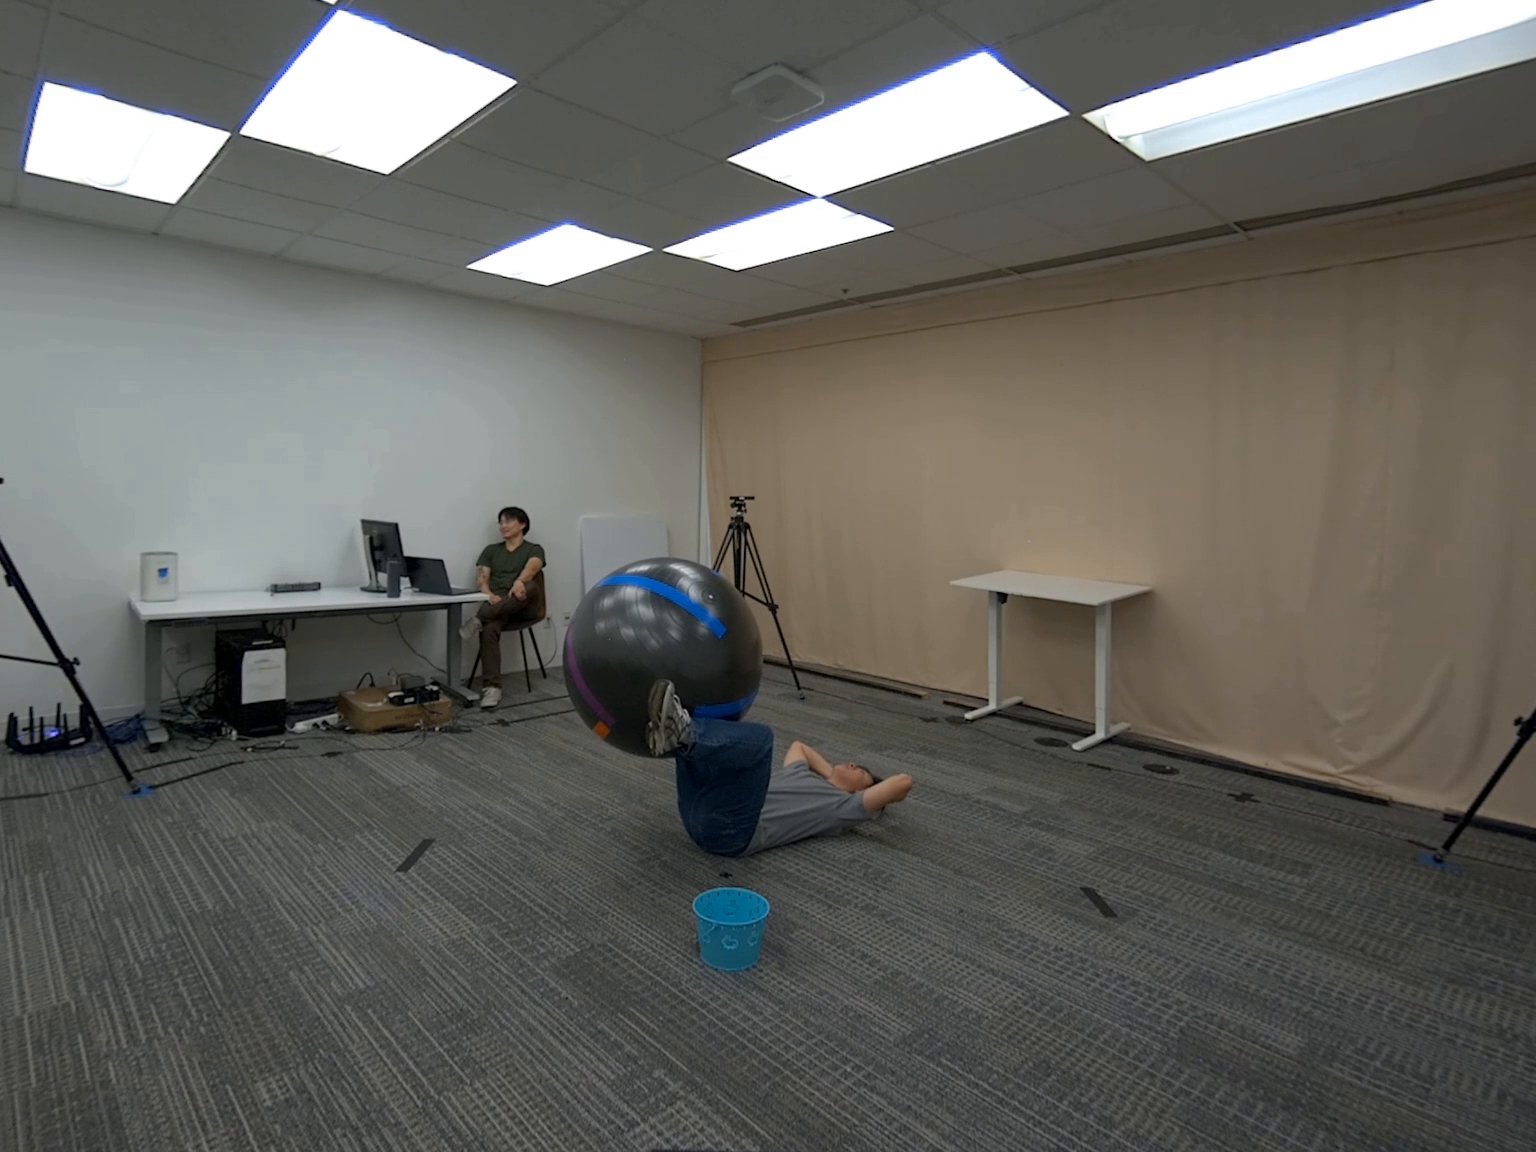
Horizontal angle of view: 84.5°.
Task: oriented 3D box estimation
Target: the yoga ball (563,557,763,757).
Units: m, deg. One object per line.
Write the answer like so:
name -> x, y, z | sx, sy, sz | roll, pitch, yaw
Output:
yoga ball -> -0.397, 0.311, 3.211 | 0.757, 0.756, 0.761 | 1, 4, -1
